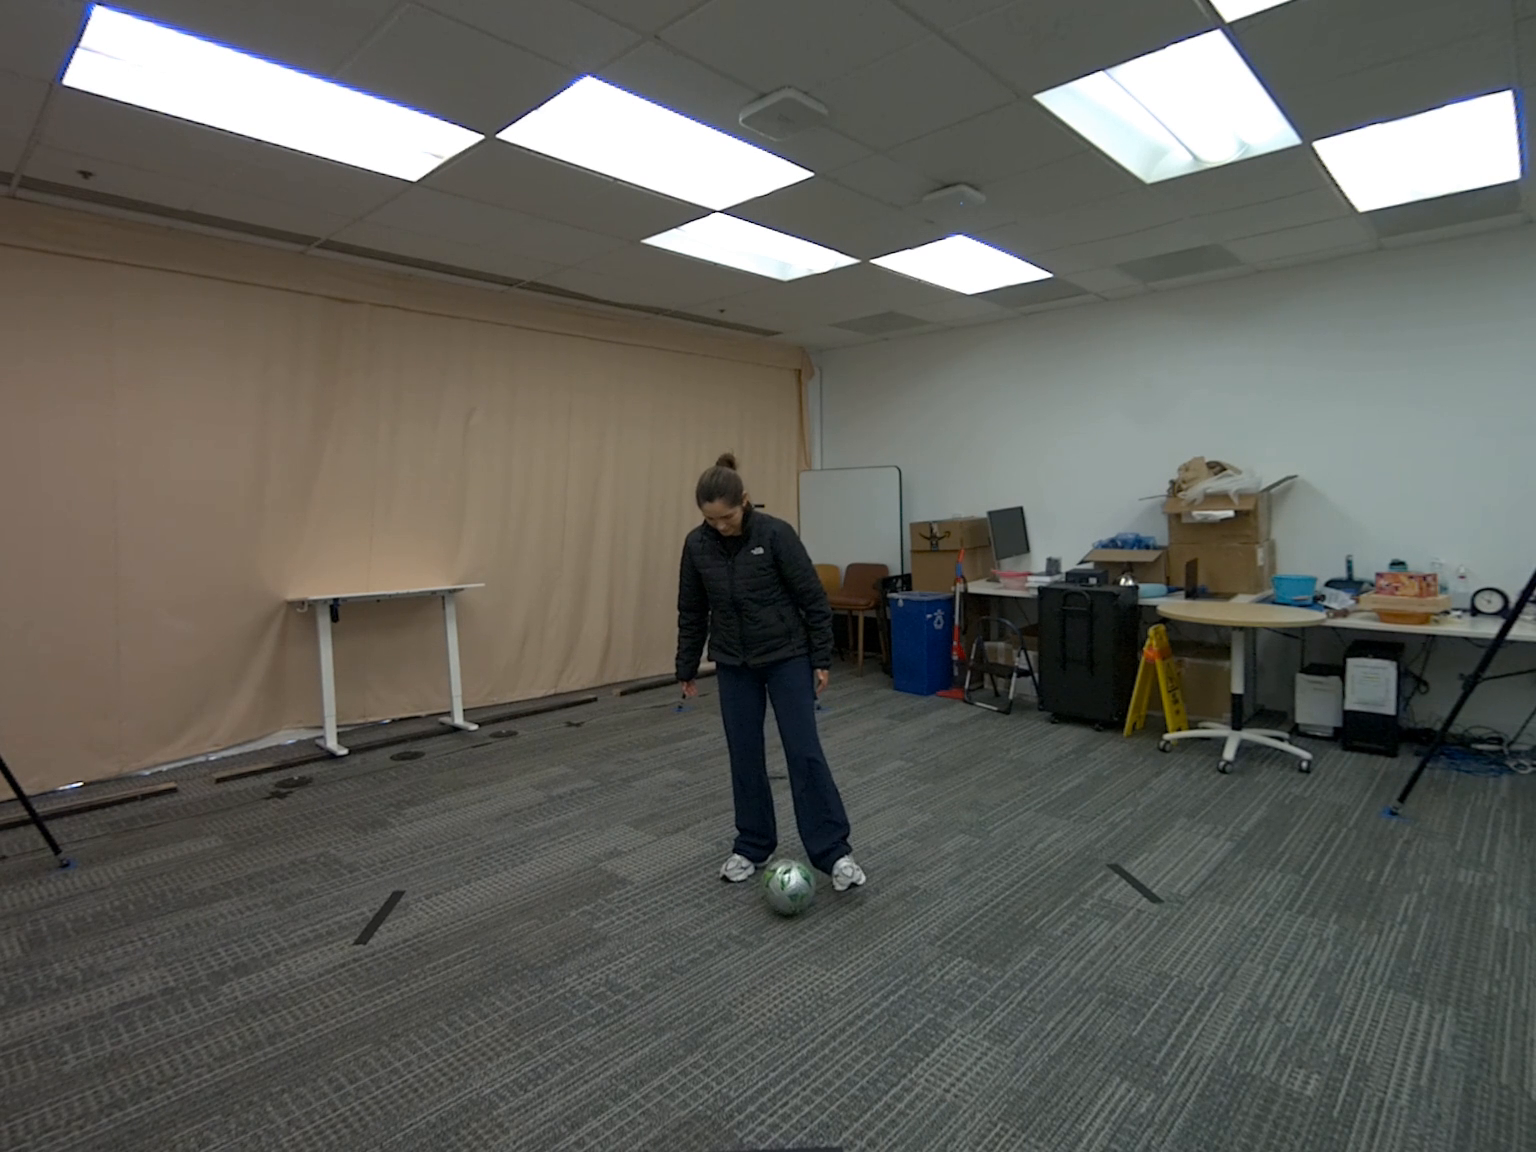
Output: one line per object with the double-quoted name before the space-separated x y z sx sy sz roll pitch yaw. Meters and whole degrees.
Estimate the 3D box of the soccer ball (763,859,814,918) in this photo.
"soccer ball" 0.065 1.055 2.870 0.187 0.187 0.188 -1 4 -2
